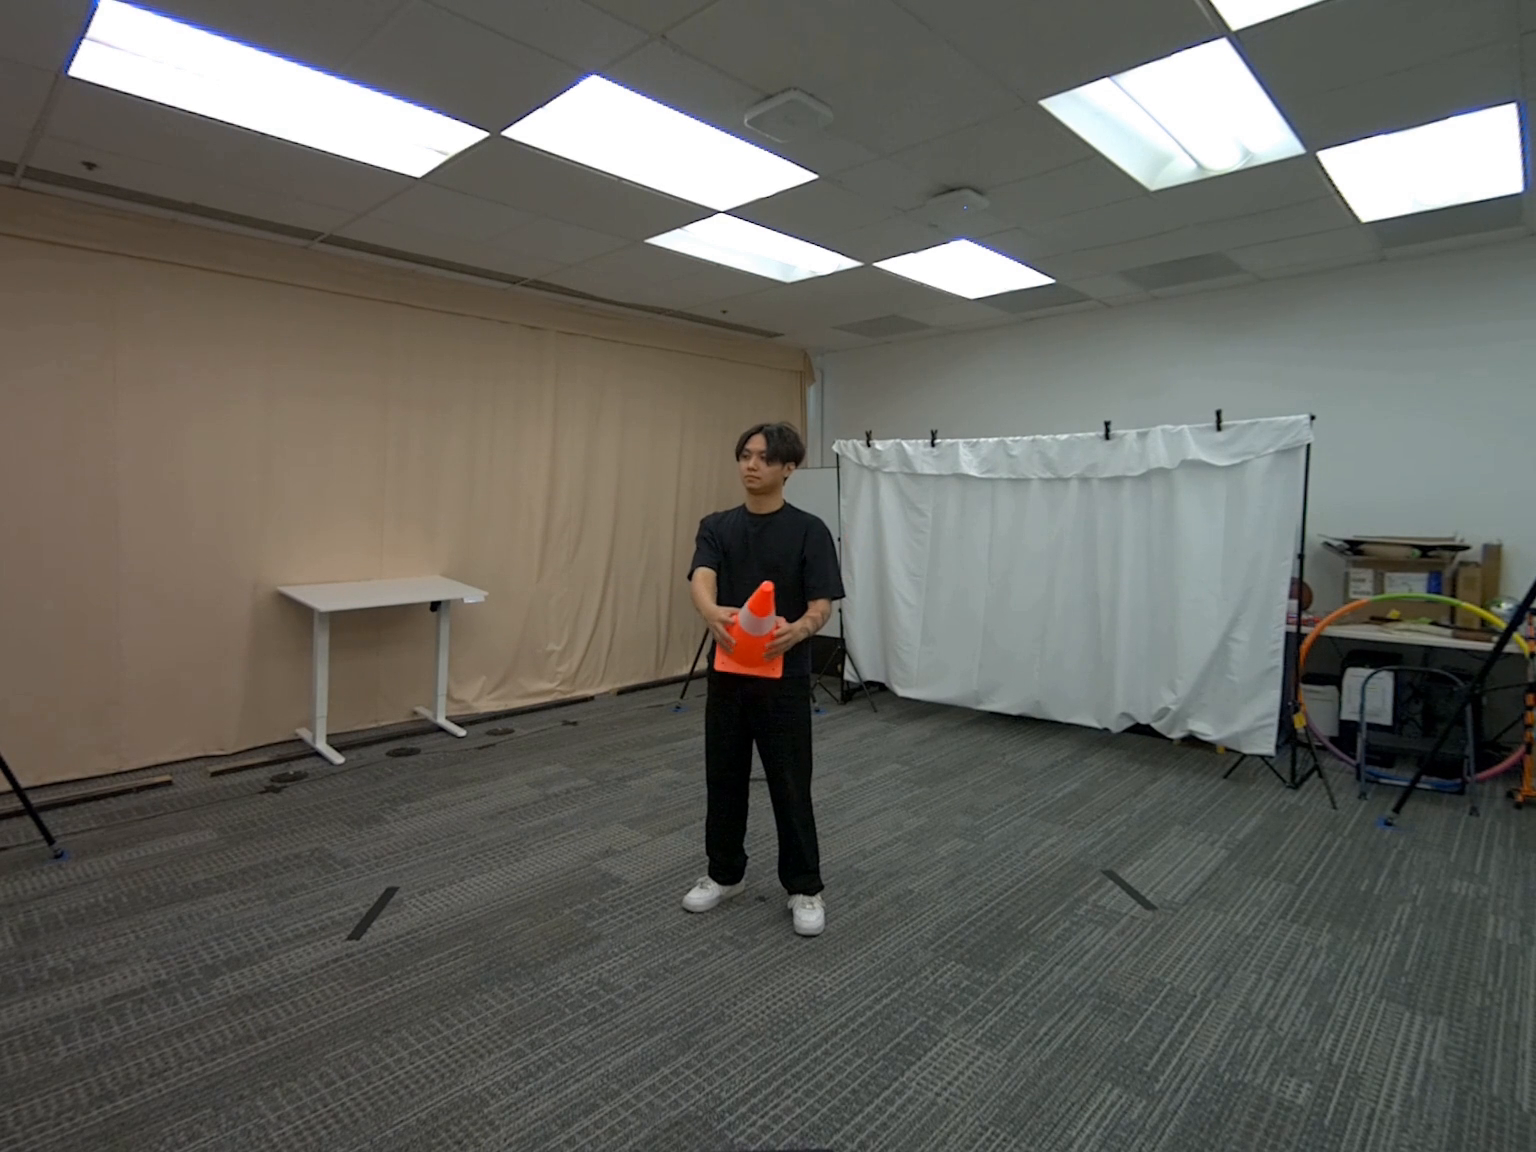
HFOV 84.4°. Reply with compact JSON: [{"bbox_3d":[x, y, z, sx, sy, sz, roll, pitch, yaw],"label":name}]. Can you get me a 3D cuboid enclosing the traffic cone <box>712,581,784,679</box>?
[{"bbox_3d":[-0.036,0.110,2.348,0.205,0.205,0.379,24,-28,6],"label":"traffic cone"}]
